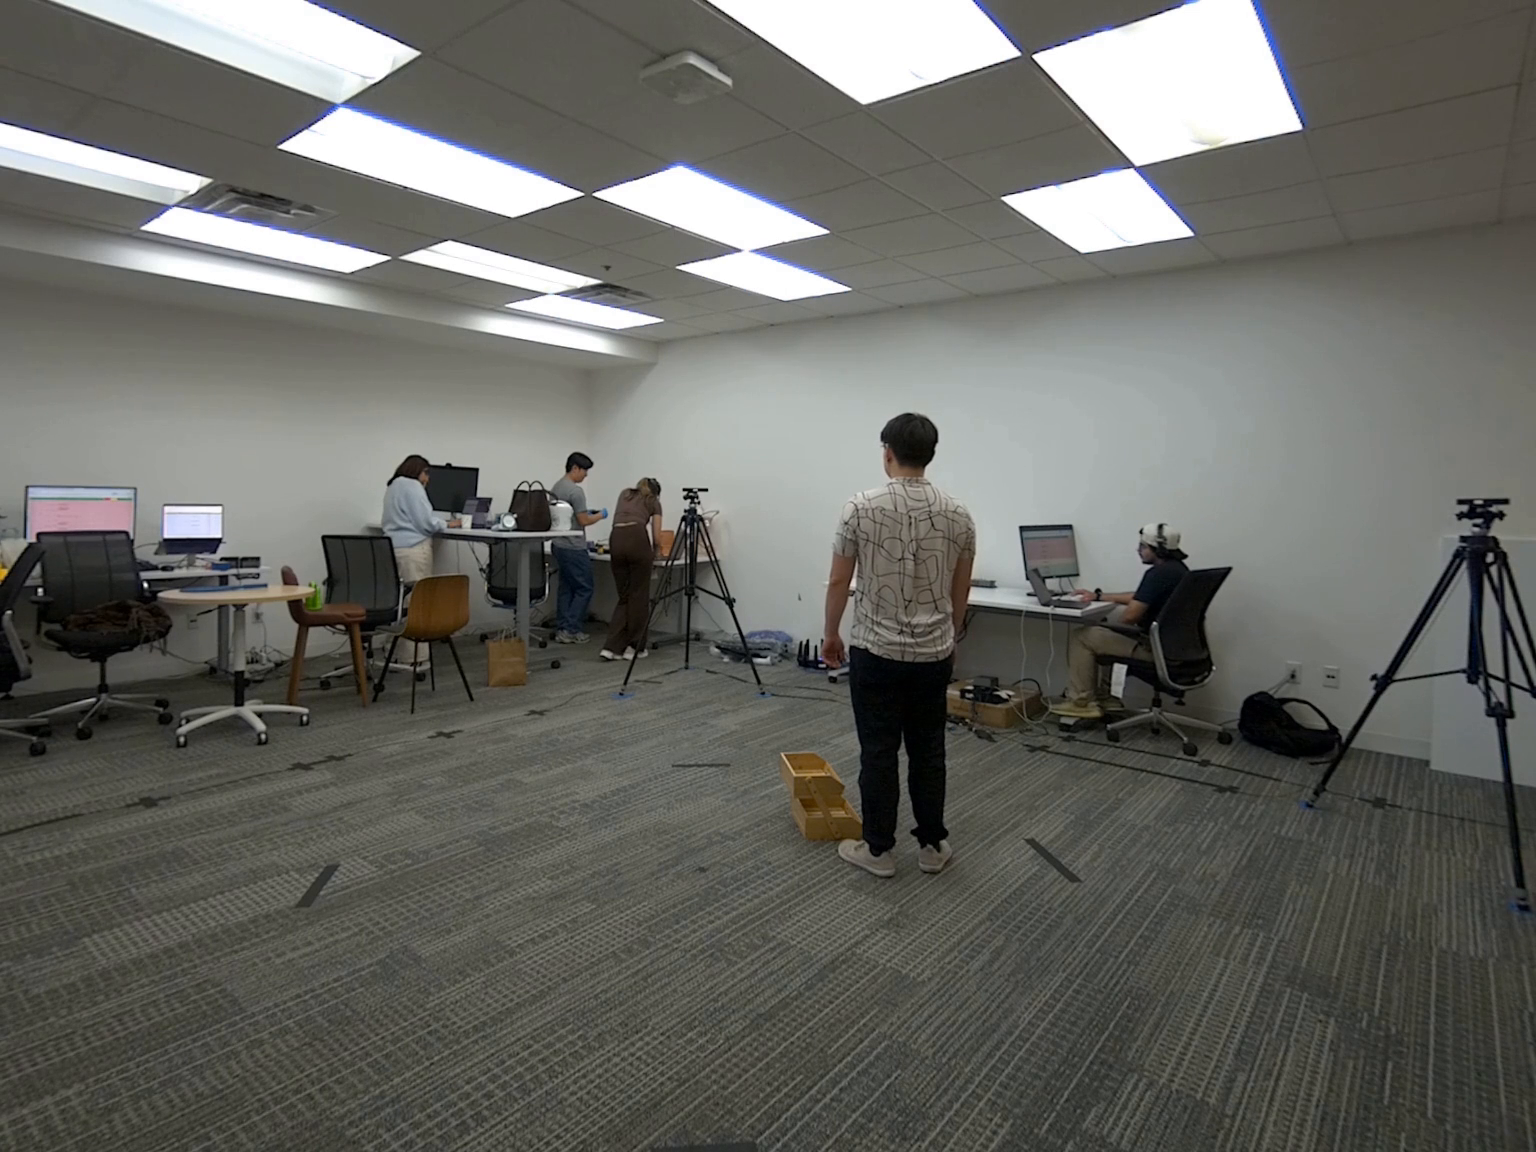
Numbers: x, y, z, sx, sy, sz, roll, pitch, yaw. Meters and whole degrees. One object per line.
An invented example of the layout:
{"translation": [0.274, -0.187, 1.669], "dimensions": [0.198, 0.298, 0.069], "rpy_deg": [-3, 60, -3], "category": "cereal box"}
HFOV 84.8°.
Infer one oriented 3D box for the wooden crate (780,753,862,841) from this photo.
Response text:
{"translation": [0.222, 0.902, 3.549], "dimensions": [0.299, 0.272, 0.329], "rpy_deg": [1, 5, -9], "category": "wooden crate"}
